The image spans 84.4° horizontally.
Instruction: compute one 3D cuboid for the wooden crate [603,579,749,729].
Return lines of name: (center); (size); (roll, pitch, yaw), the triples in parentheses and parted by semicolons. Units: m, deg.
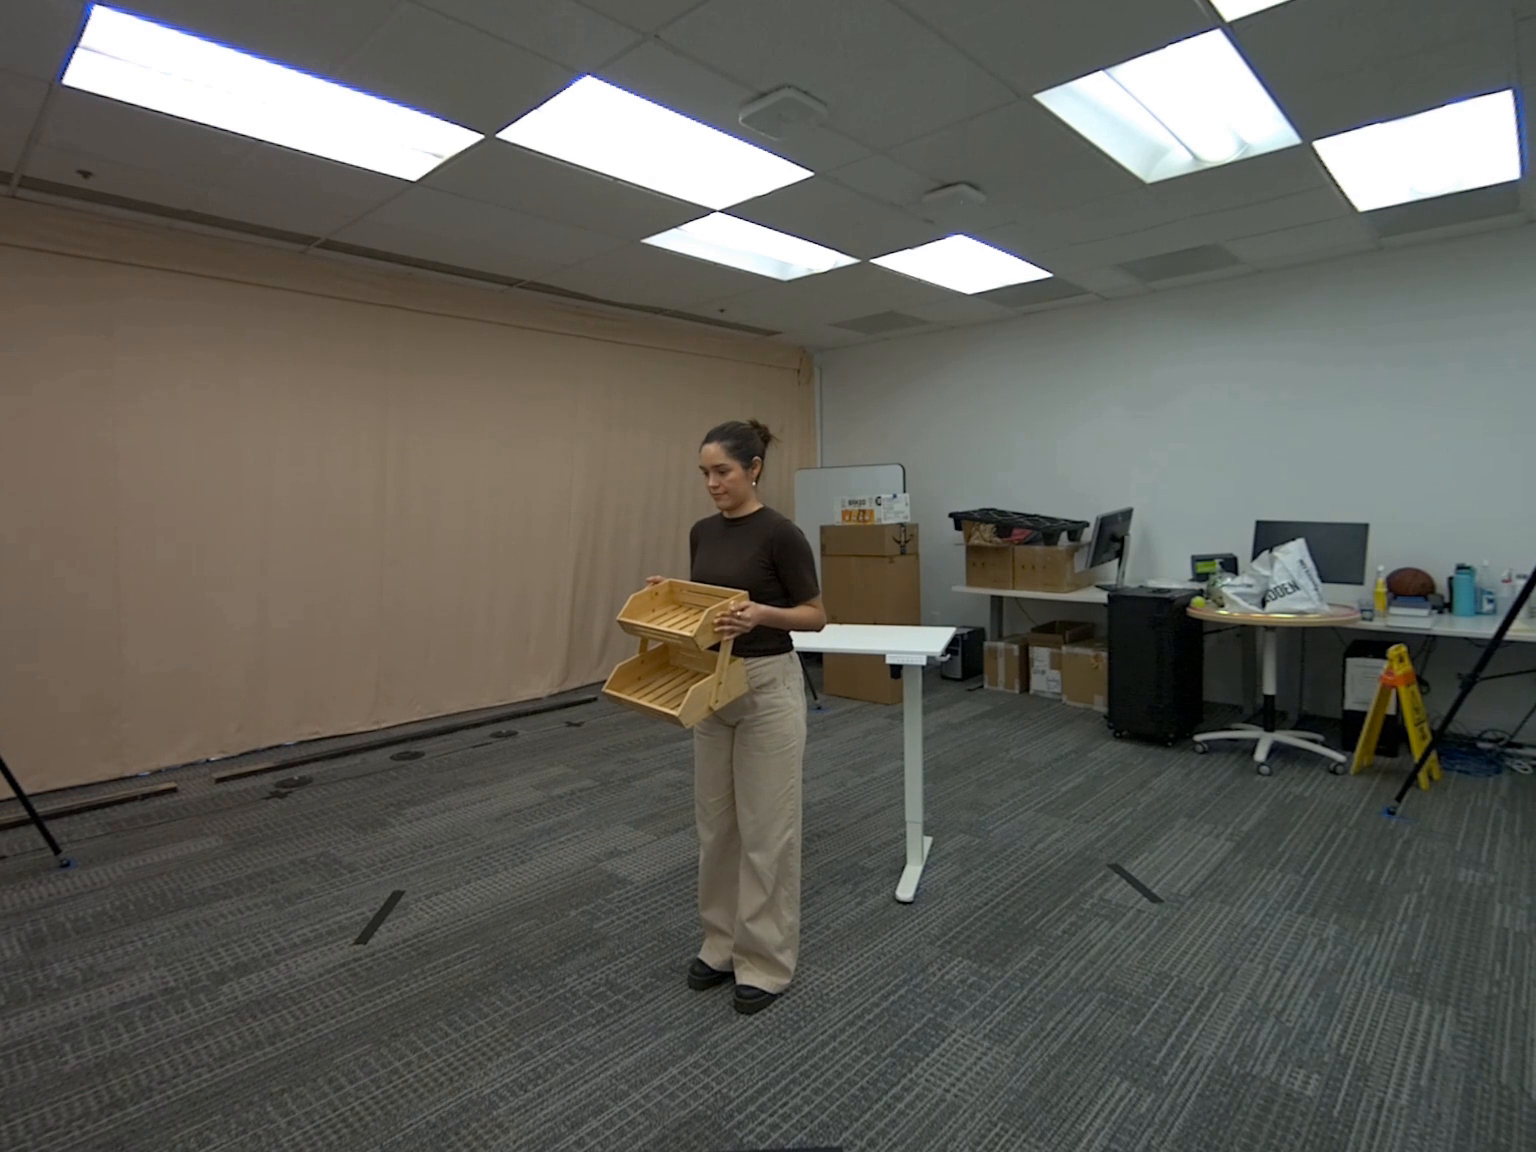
wooden crate: (-0.243, 0.191, 2.212); (0.335, 0.270, 0.295); (7, 23, 42)
